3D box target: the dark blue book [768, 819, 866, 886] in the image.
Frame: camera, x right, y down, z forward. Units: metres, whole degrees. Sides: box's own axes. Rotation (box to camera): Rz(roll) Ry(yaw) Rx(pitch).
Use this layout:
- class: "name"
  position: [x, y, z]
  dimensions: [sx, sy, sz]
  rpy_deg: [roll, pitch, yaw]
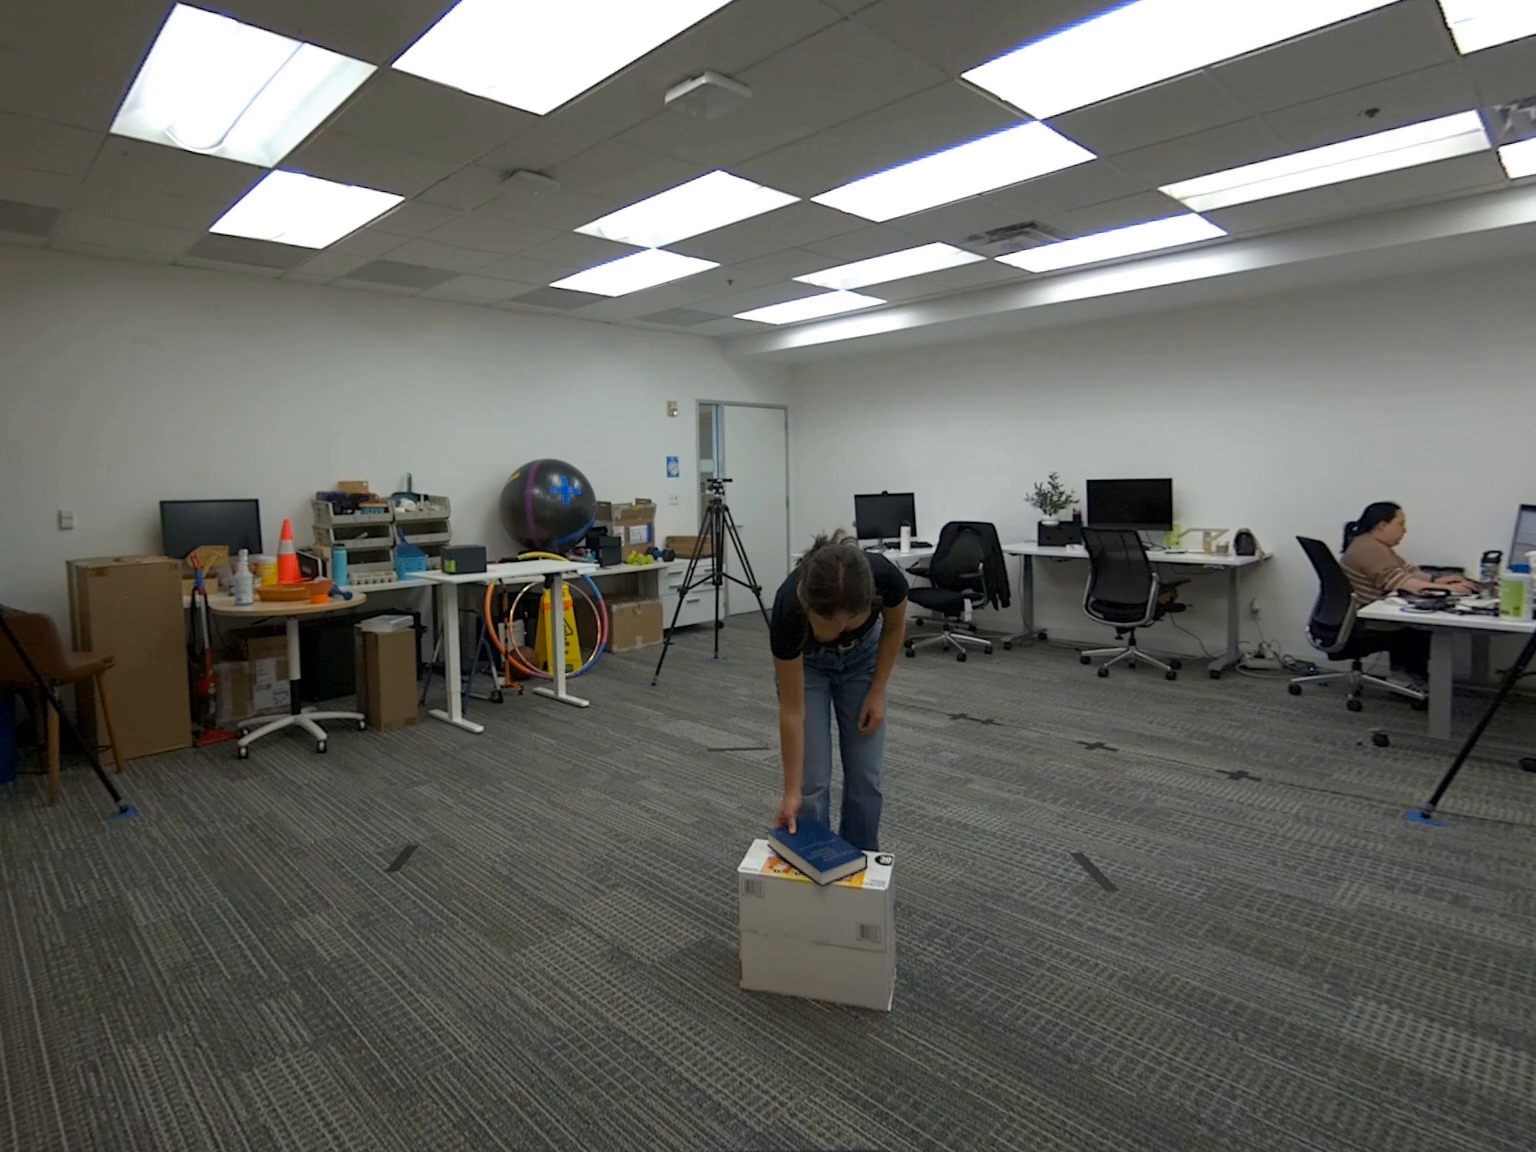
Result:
- class: "dark blue book"
  position: [0.135, 0.763, 2.361]
  dimensions: [0.159, 0.045, 0.253]
  rpy_deg: [-8, 14, -34]
